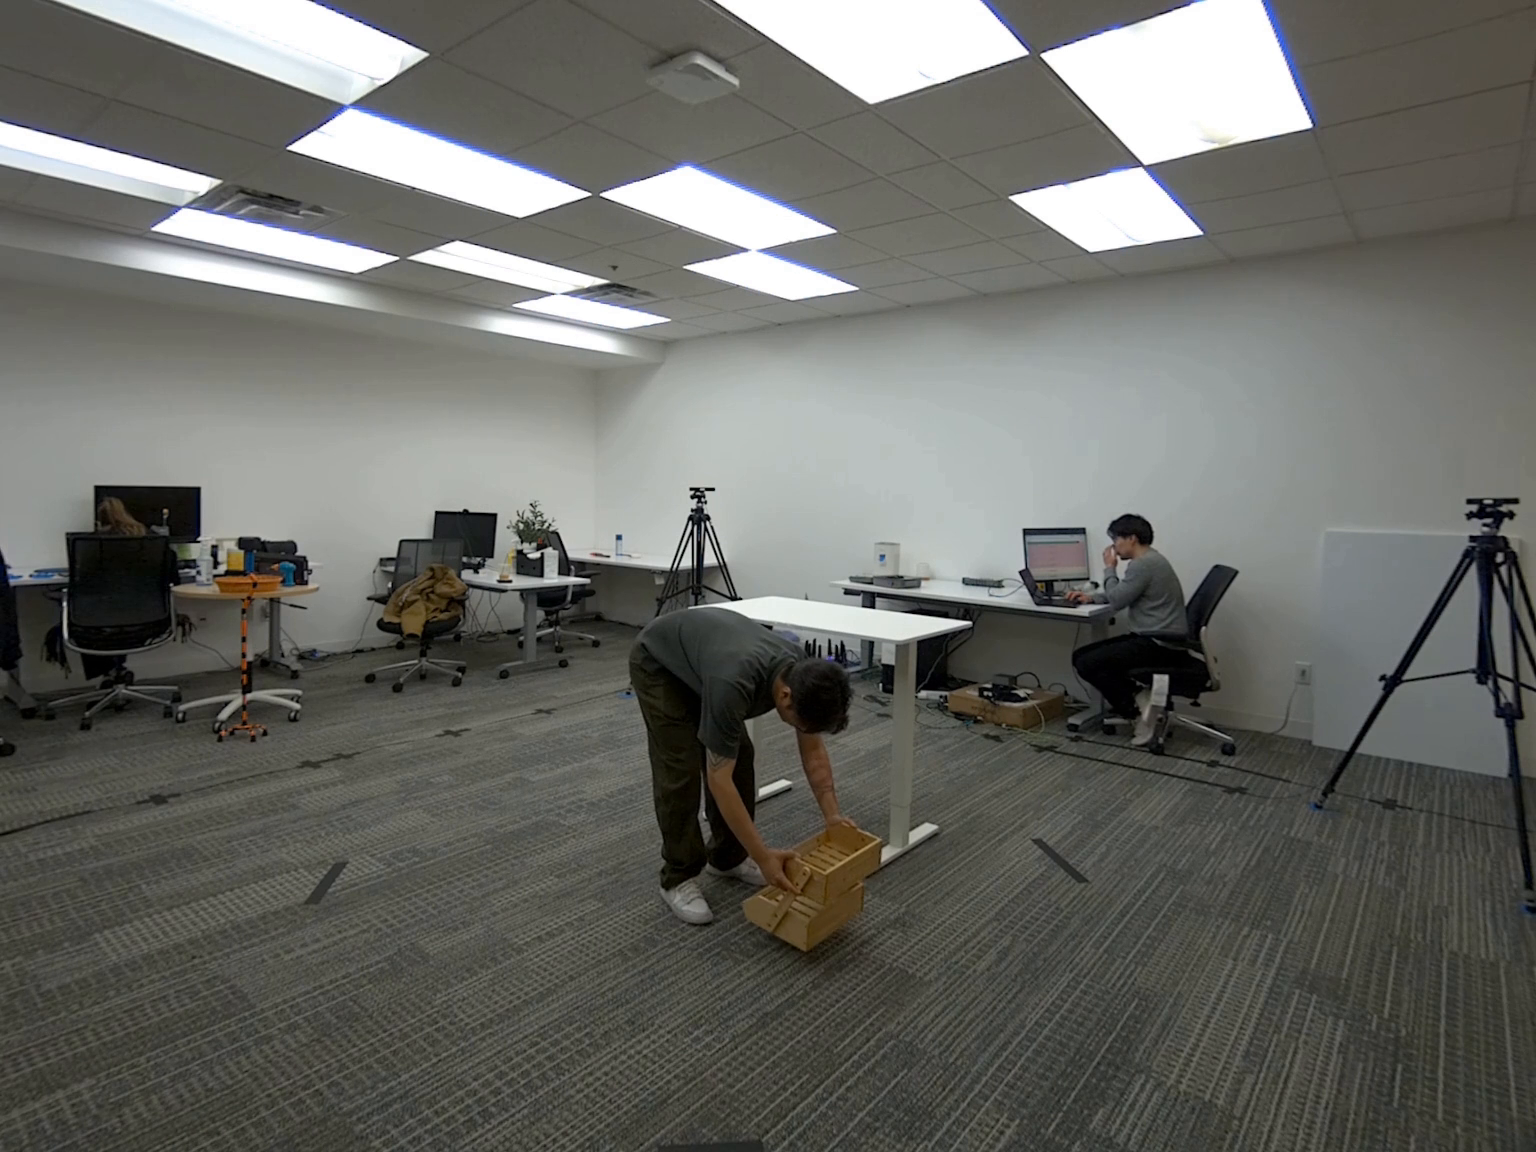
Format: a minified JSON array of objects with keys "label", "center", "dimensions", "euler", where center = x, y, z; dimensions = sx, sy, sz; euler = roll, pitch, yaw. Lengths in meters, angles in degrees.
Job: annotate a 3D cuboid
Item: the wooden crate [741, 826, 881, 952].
[{"label":"wooden crate","center":[0.130,0.920,2.616],"dimensions":[0.313,0.271,0.315],"euler":[11,11,39]}]
